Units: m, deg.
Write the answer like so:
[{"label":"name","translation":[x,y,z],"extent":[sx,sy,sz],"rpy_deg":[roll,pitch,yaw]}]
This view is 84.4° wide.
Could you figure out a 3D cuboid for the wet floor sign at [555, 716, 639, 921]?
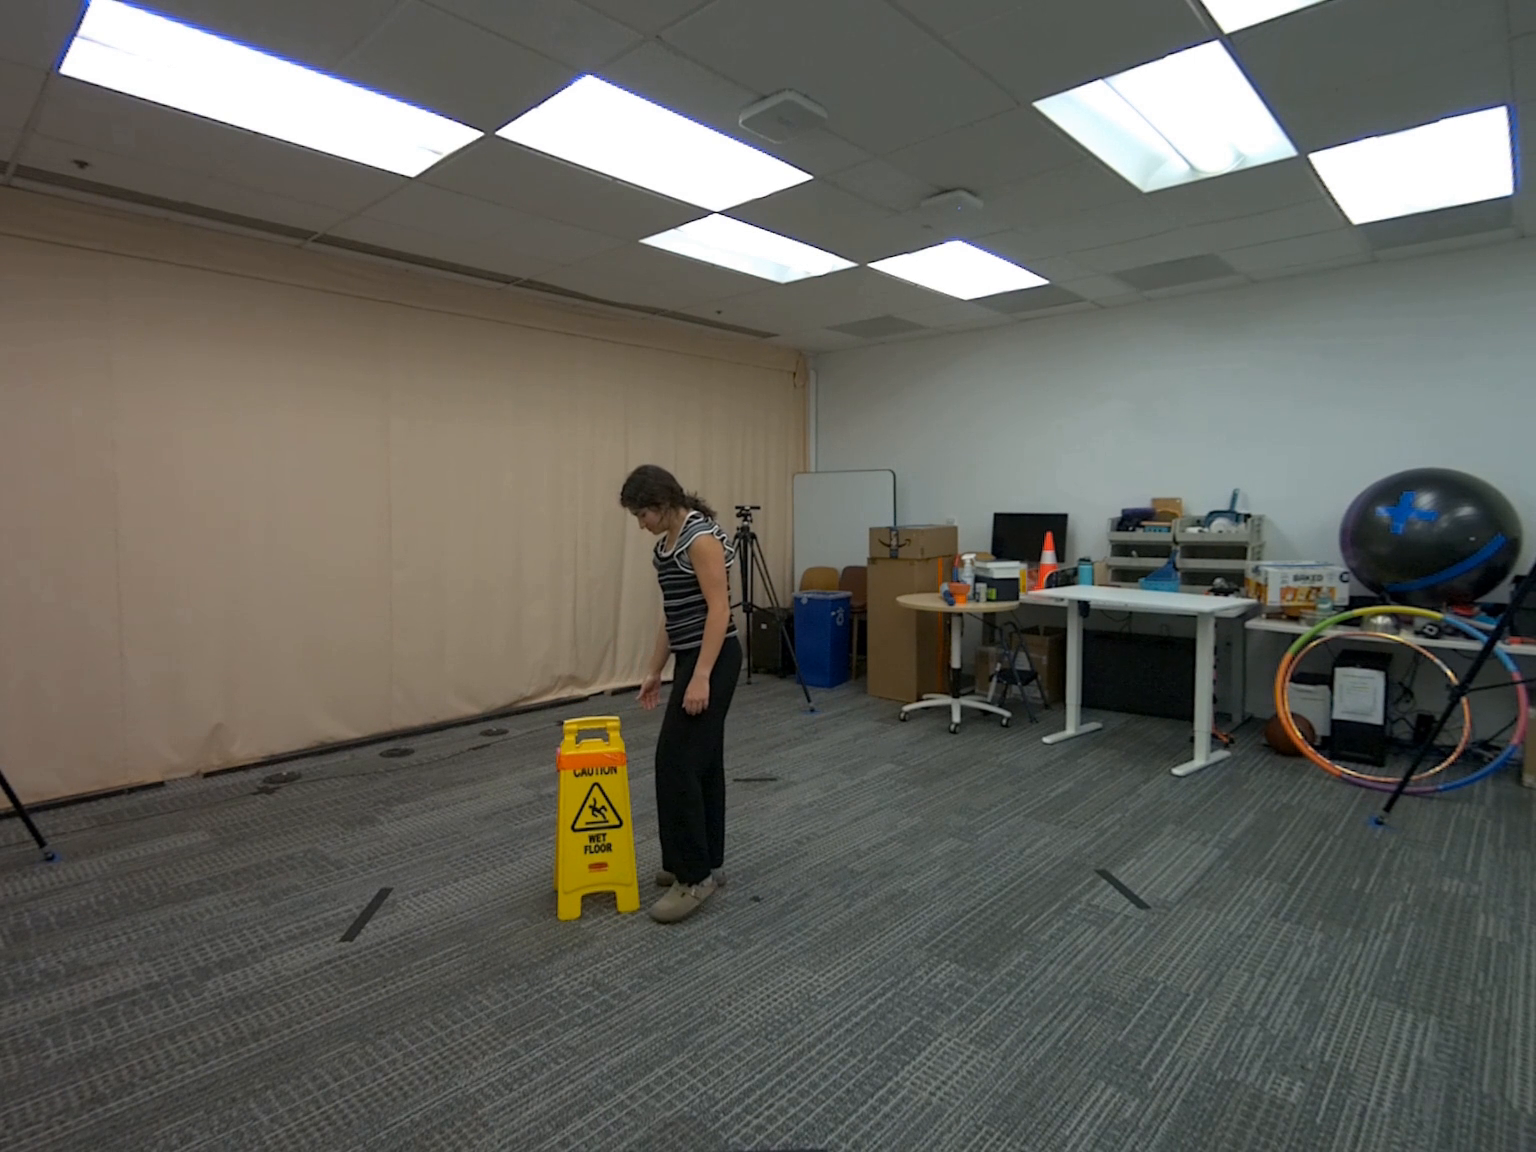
[{"label":"wet floor sign","translation":[-0.617,0.827,2.980],"extent":[0.278,0.645,0.294],"rpy_deg":[-1,2,-15]}]
